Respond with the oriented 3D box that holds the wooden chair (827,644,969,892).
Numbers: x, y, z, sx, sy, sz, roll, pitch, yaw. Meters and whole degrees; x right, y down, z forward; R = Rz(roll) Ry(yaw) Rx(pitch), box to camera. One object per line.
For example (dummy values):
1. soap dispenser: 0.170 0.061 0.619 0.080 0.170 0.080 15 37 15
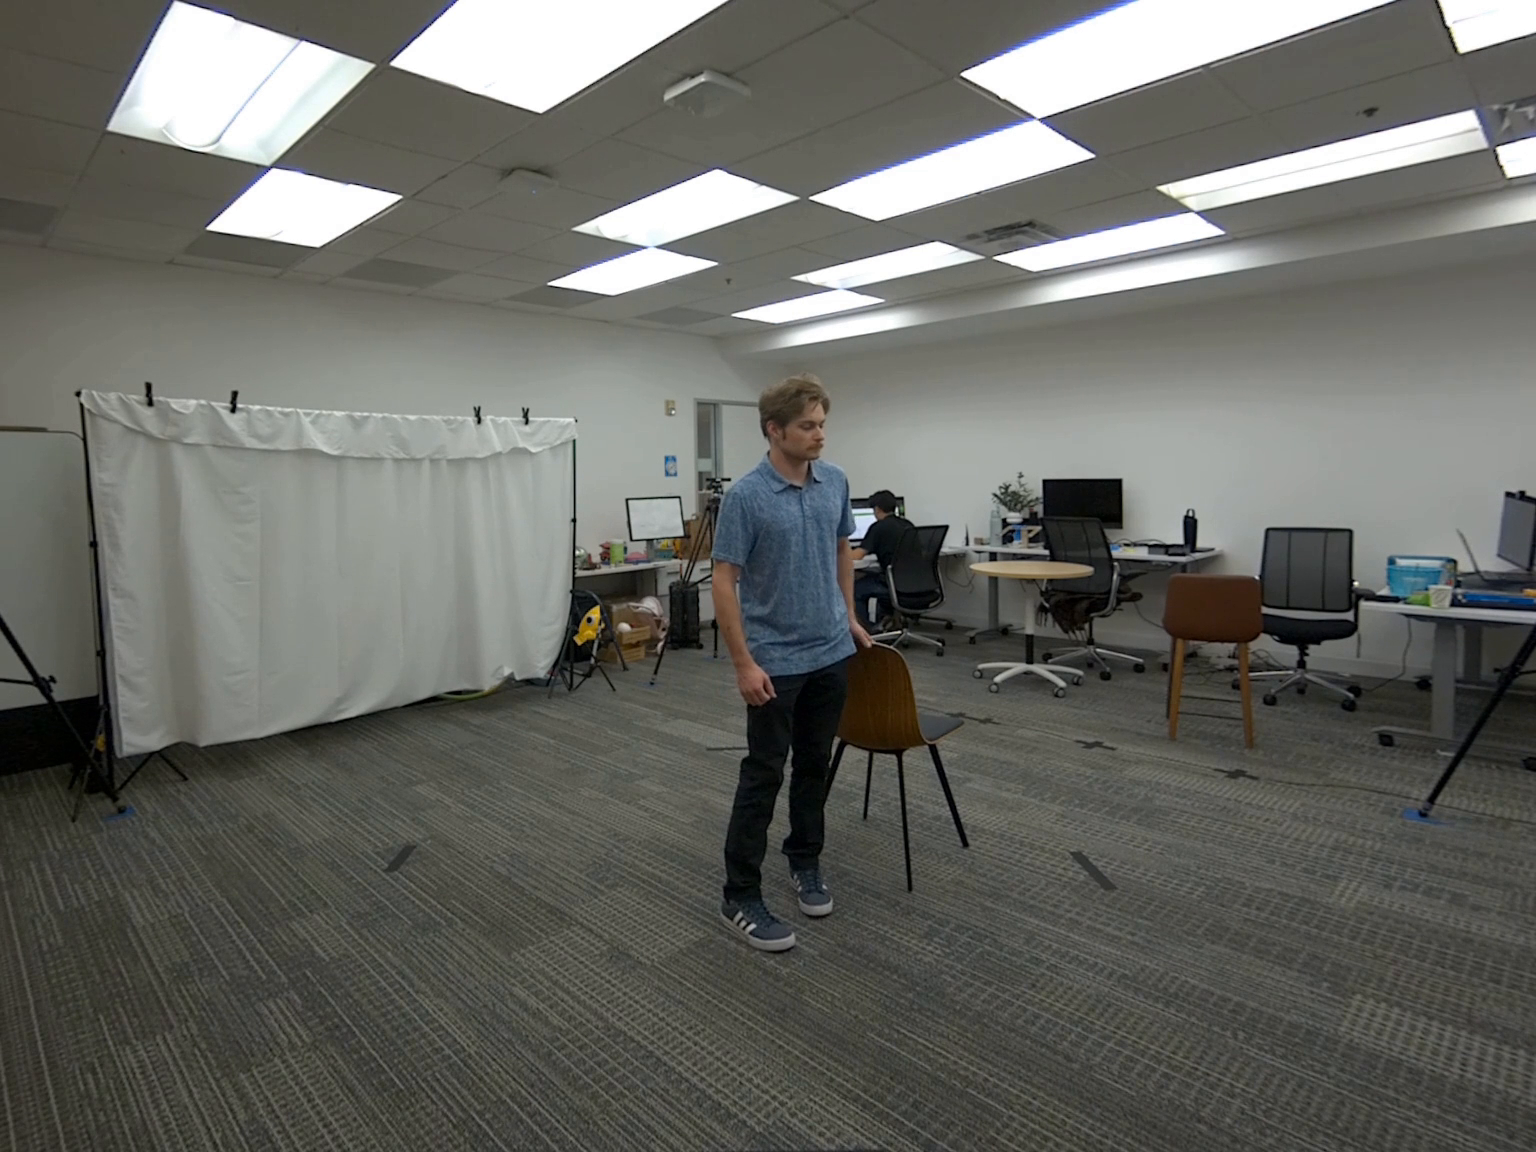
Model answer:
1. wooden chair: 0.435 0.600 3.161 0.492 0.871 0.512 2 10 38
